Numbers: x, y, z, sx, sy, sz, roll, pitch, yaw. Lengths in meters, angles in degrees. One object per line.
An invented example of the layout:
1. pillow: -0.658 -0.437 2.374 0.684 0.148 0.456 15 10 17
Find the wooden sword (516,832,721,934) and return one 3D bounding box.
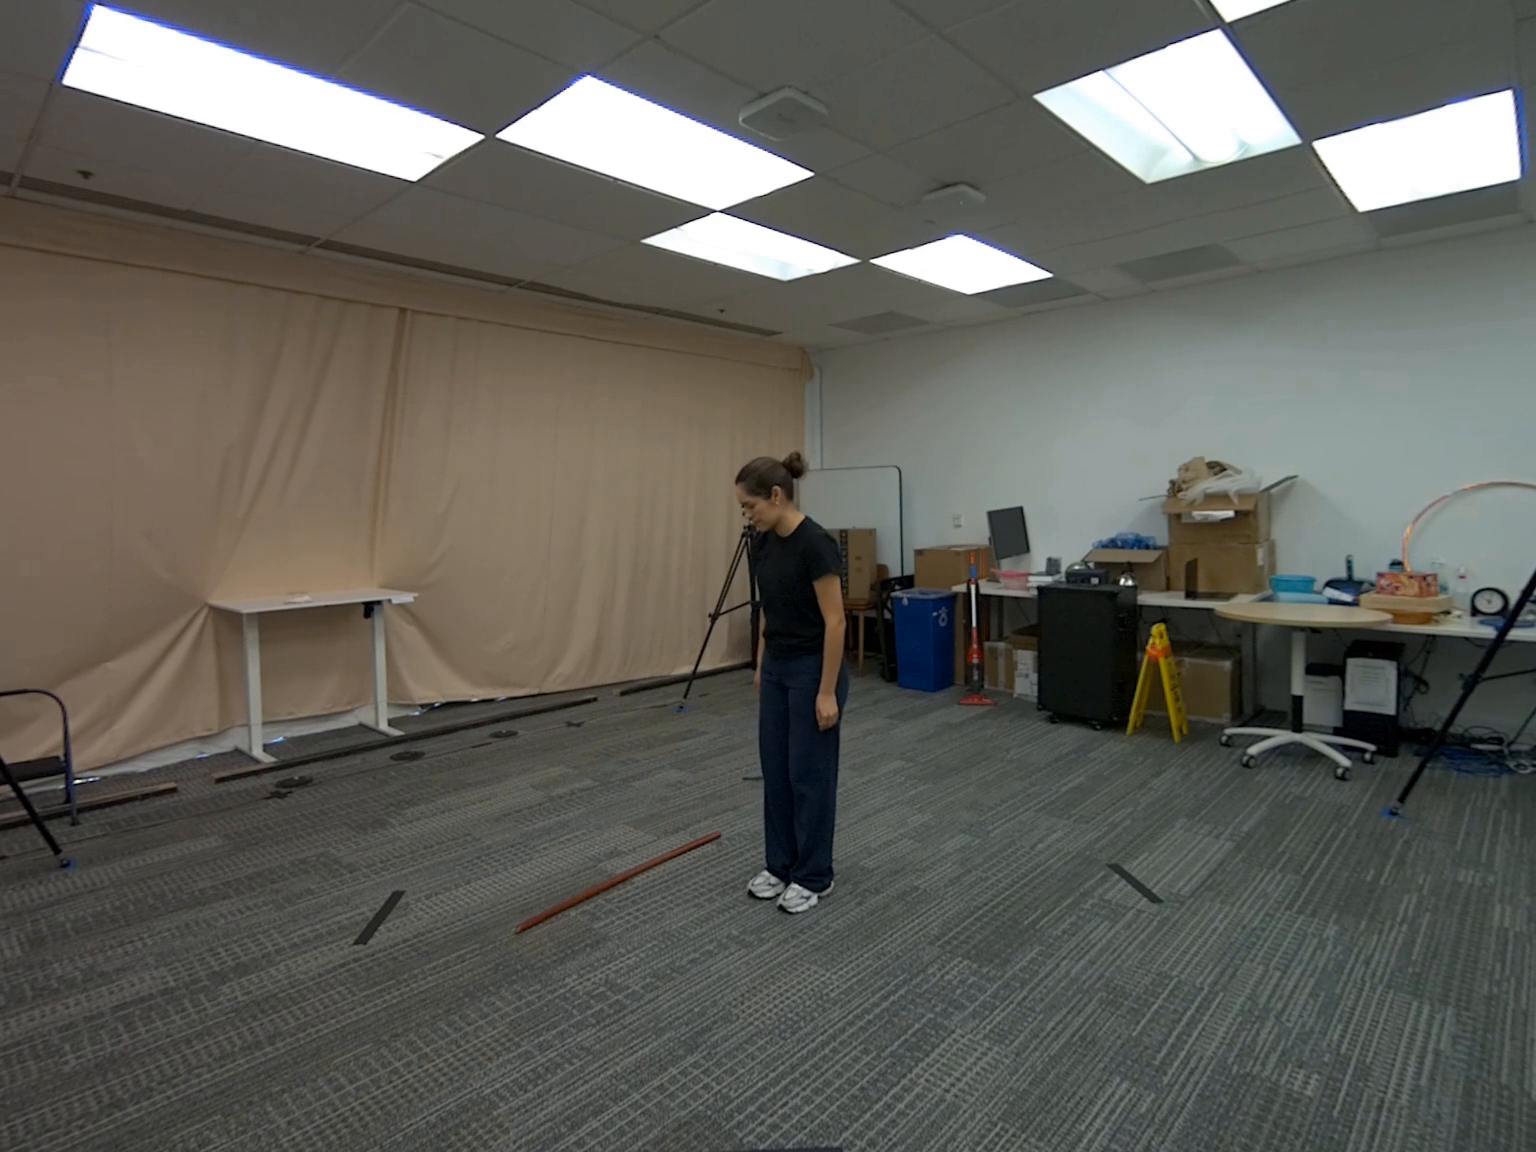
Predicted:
1. wooden sword: -0.497 1.115 3.155 0.053 0.024 0.995 -2 3 38
